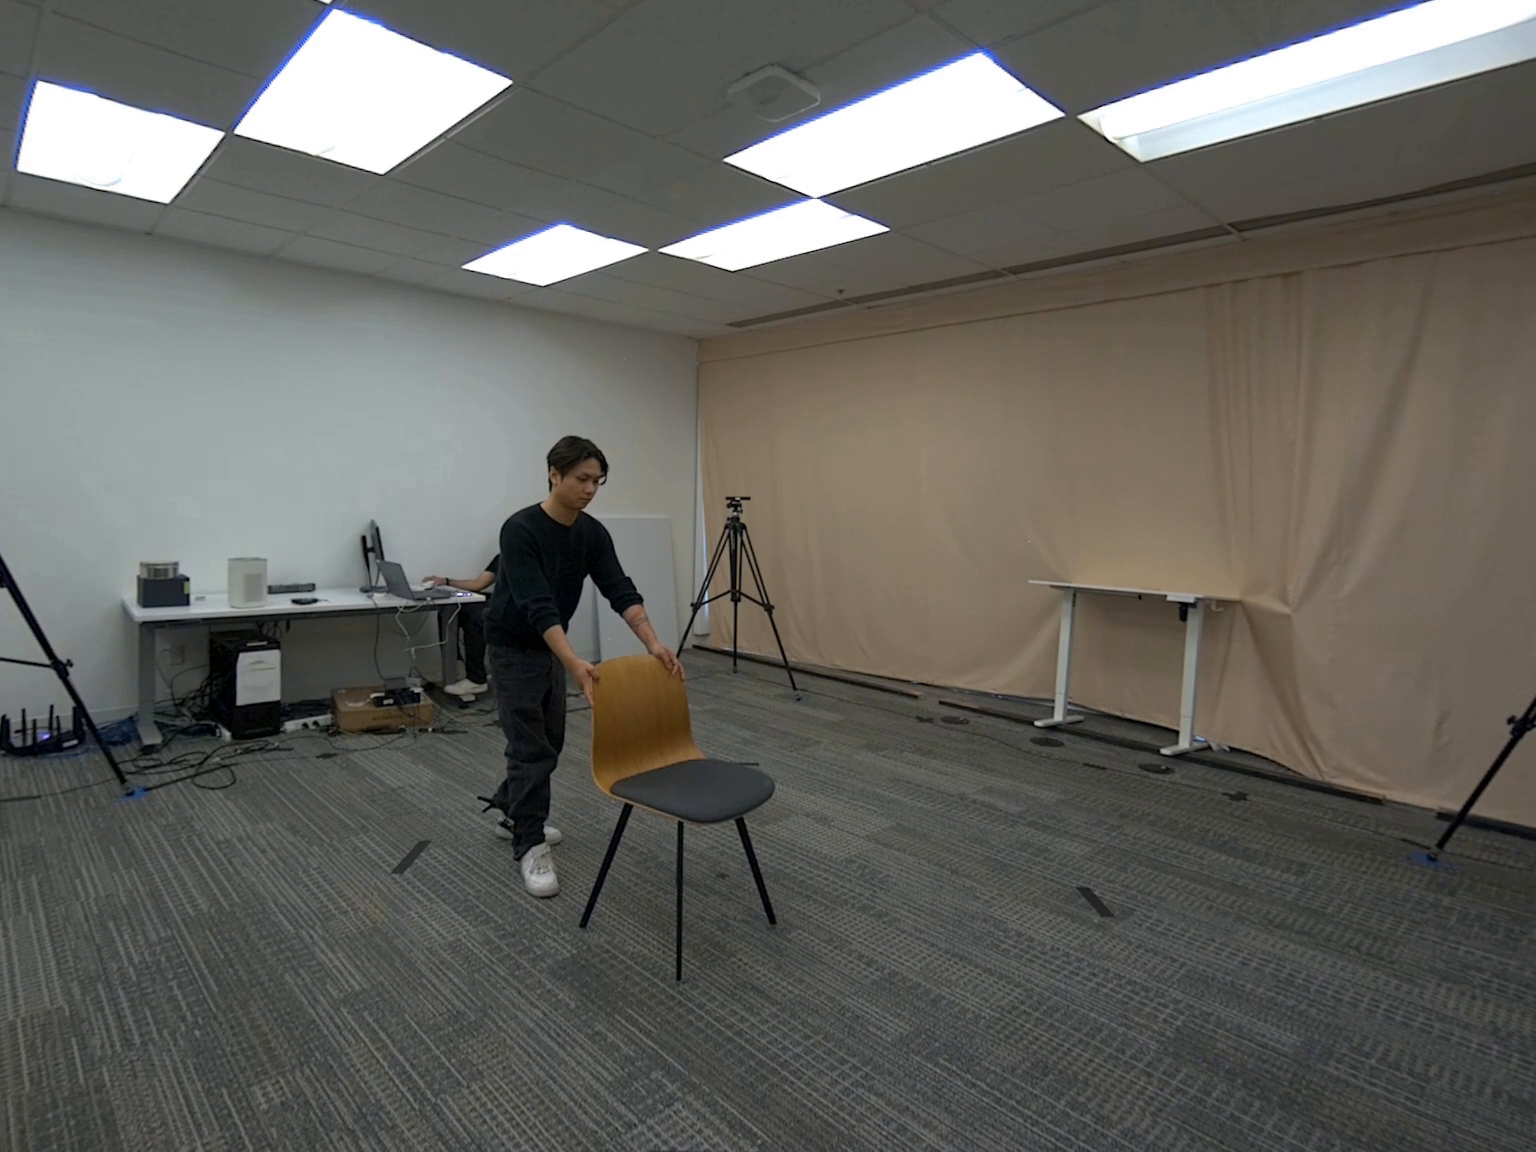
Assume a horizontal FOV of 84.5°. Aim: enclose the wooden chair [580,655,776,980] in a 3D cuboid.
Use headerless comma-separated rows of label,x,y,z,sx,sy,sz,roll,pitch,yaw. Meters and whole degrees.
wooden chair,-0.284,0.708,2.696,0.535,0.878,0.467,-3,0,40
